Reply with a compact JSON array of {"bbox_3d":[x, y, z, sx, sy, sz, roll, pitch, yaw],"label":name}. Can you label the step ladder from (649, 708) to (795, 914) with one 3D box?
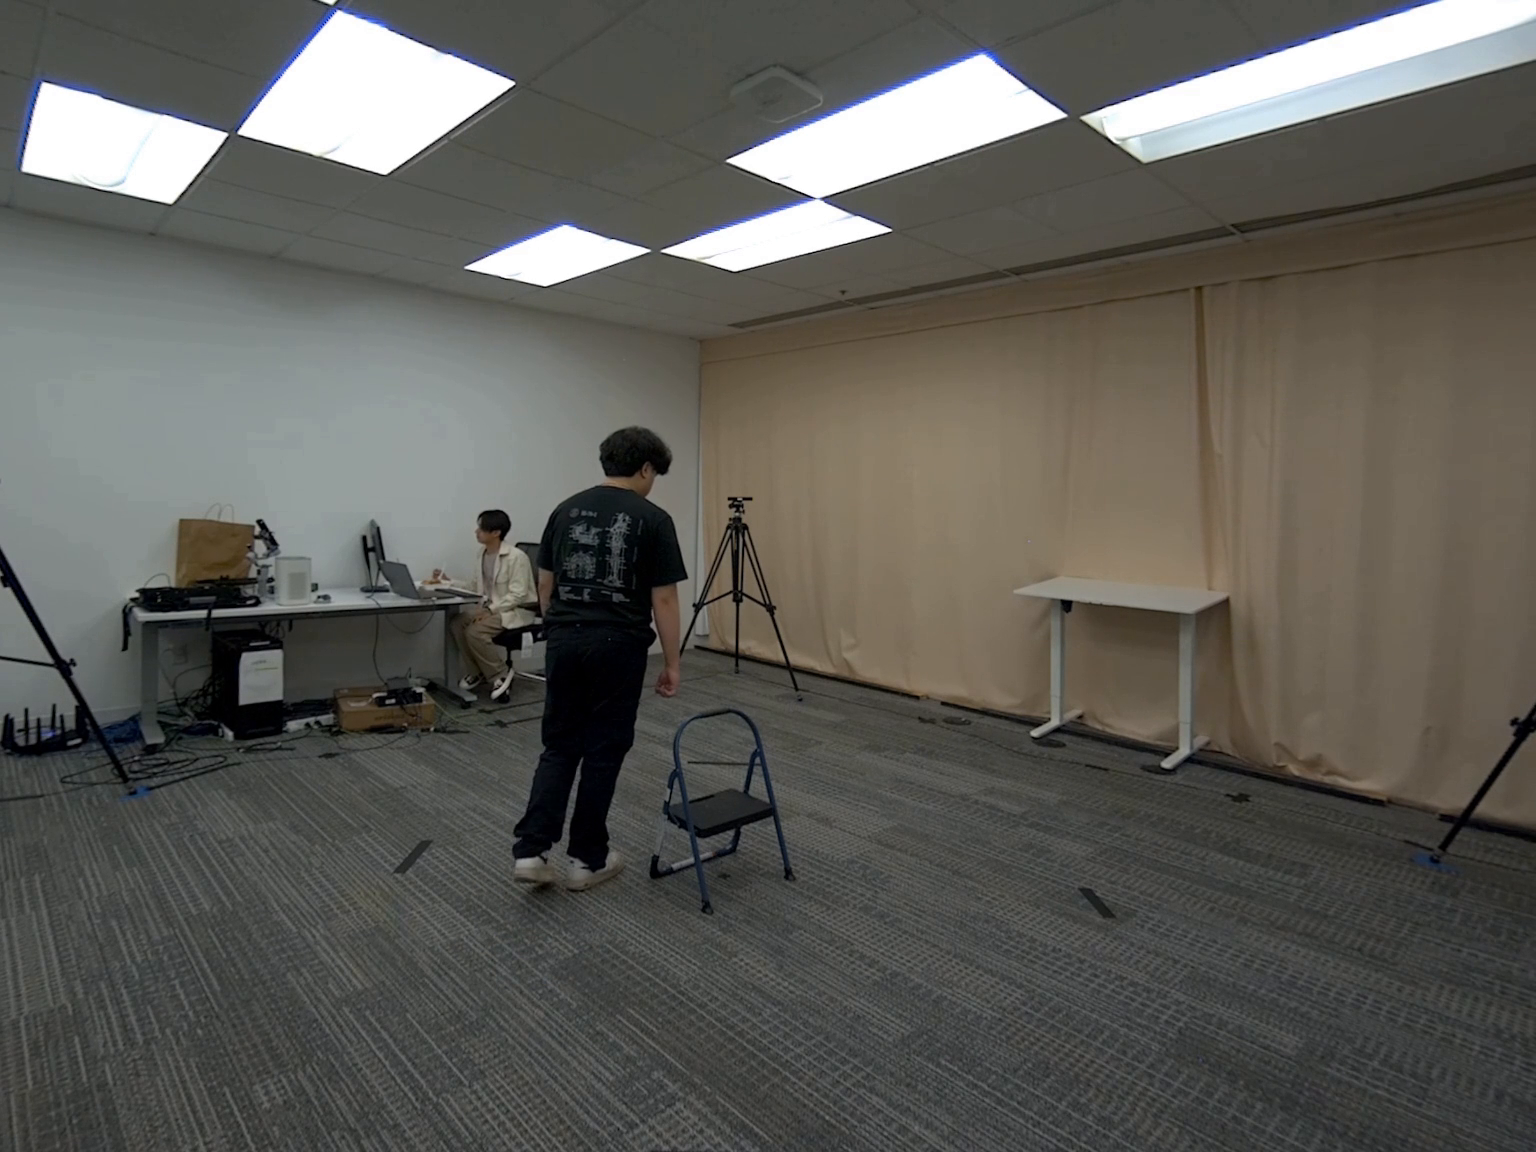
[{"bbox_3d":[-0.166,0.807,3.064,0.421,0.604,0.358,-2,6,-44],"label":"step ladder"}]
